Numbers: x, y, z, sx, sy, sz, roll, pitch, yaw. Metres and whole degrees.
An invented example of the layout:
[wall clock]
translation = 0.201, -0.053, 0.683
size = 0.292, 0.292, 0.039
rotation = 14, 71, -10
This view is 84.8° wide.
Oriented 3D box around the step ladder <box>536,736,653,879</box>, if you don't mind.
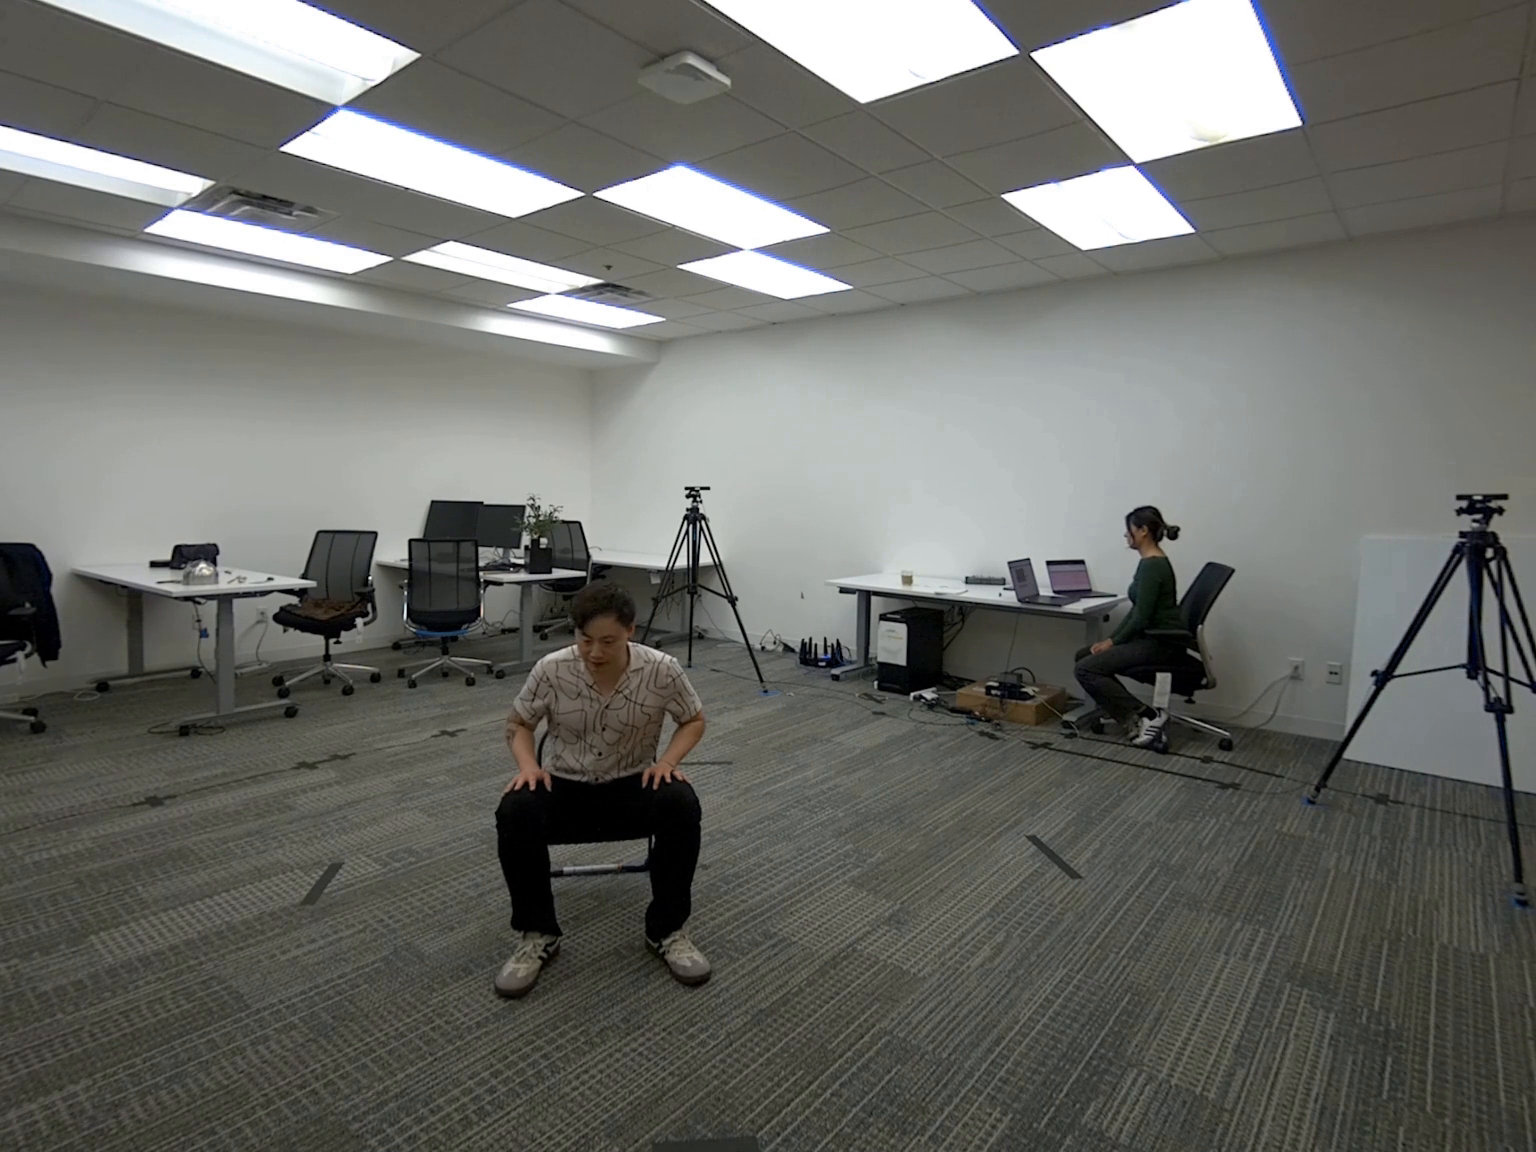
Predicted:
[step ladder]
translation = -0.585, 0.782, 2.887
size = 0.425, 0.604, 0.355
rotation = 0, 3, -13
